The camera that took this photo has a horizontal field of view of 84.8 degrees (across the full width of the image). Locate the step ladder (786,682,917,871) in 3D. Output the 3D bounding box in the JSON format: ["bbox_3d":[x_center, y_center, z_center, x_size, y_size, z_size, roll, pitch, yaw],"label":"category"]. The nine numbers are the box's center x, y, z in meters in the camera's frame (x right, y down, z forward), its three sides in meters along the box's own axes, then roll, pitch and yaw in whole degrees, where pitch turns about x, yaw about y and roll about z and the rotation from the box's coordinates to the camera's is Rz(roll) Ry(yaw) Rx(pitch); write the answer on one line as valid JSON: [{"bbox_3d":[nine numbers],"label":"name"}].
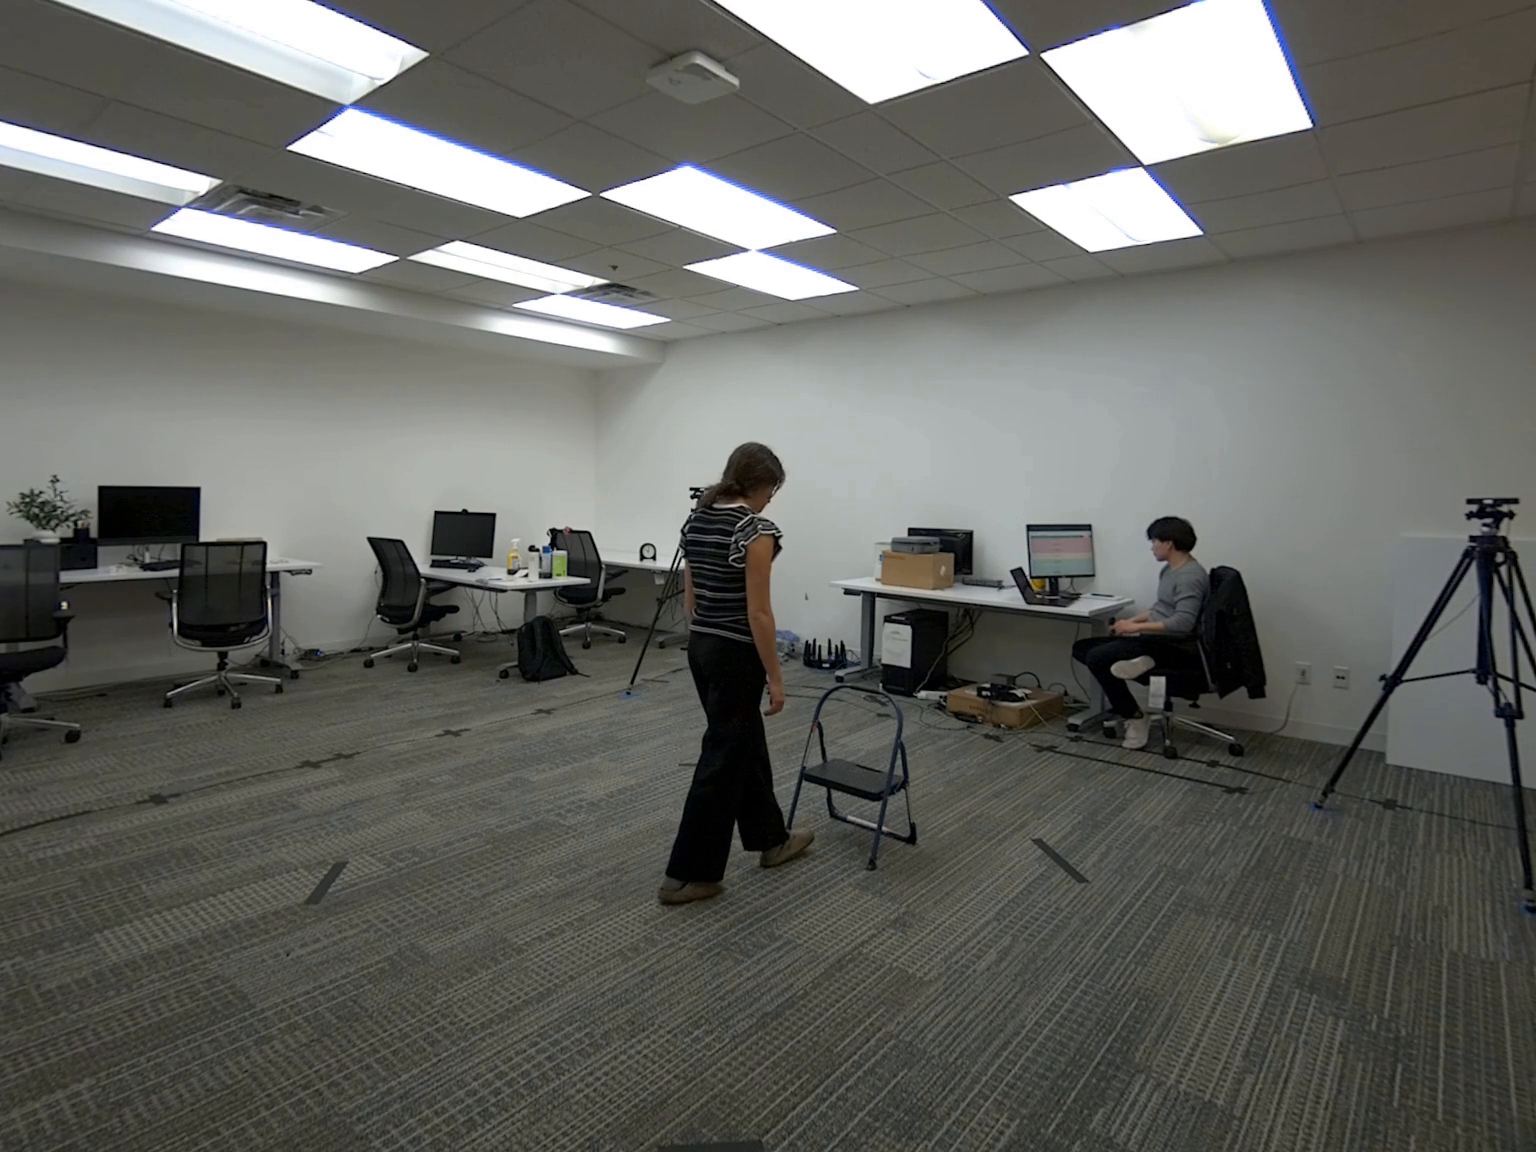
[{"bbox_3d":[0.326,0.751,3.377,0.445,0.604,0.339,5,5,40],"label":"step ladder"}]
